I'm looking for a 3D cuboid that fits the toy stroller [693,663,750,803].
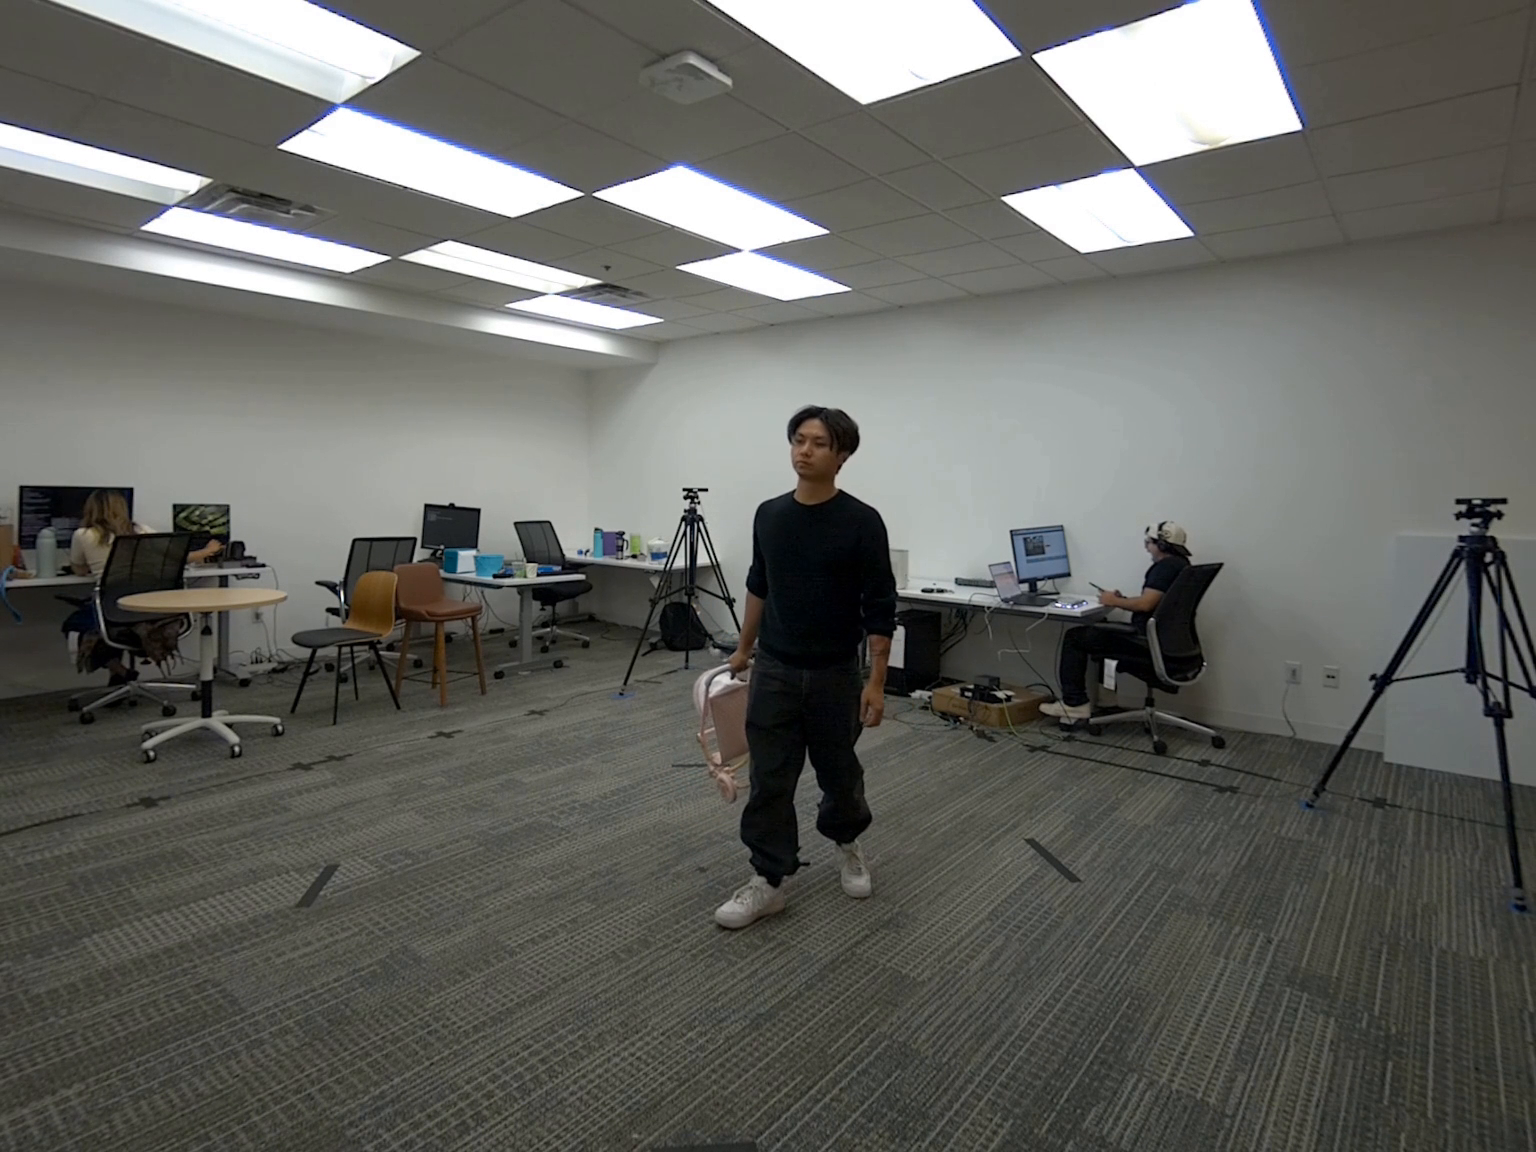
[{"bbox_3d":[-0.153,0.583,3.209,0.277,0.534,0.348,-17,3,-26],"label":"toy stroller"}]
